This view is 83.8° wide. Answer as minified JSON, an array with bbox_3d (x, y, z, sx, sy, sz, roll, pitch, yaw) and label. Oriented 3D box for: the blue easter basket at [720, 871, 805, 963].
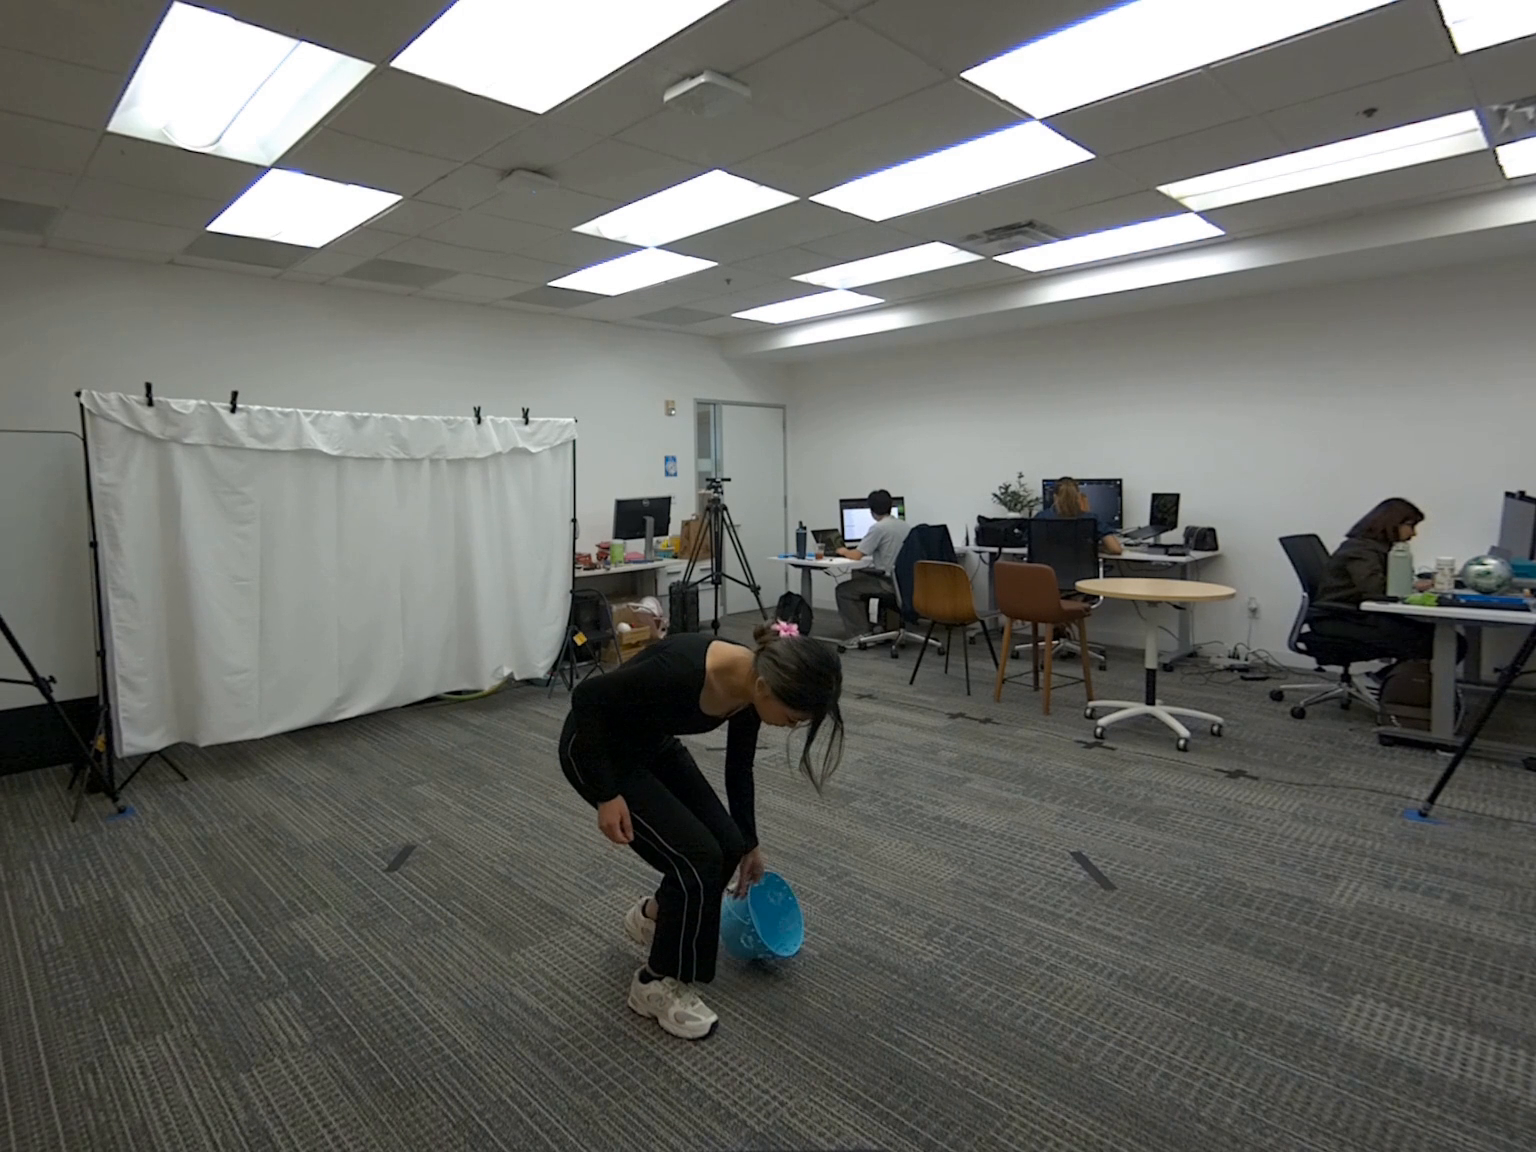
[{"bbox_3d":[-0.018,0.994,2.483,0.157,0.248,0.238,-37,-16,31],"label":"blue easter basket"}]
